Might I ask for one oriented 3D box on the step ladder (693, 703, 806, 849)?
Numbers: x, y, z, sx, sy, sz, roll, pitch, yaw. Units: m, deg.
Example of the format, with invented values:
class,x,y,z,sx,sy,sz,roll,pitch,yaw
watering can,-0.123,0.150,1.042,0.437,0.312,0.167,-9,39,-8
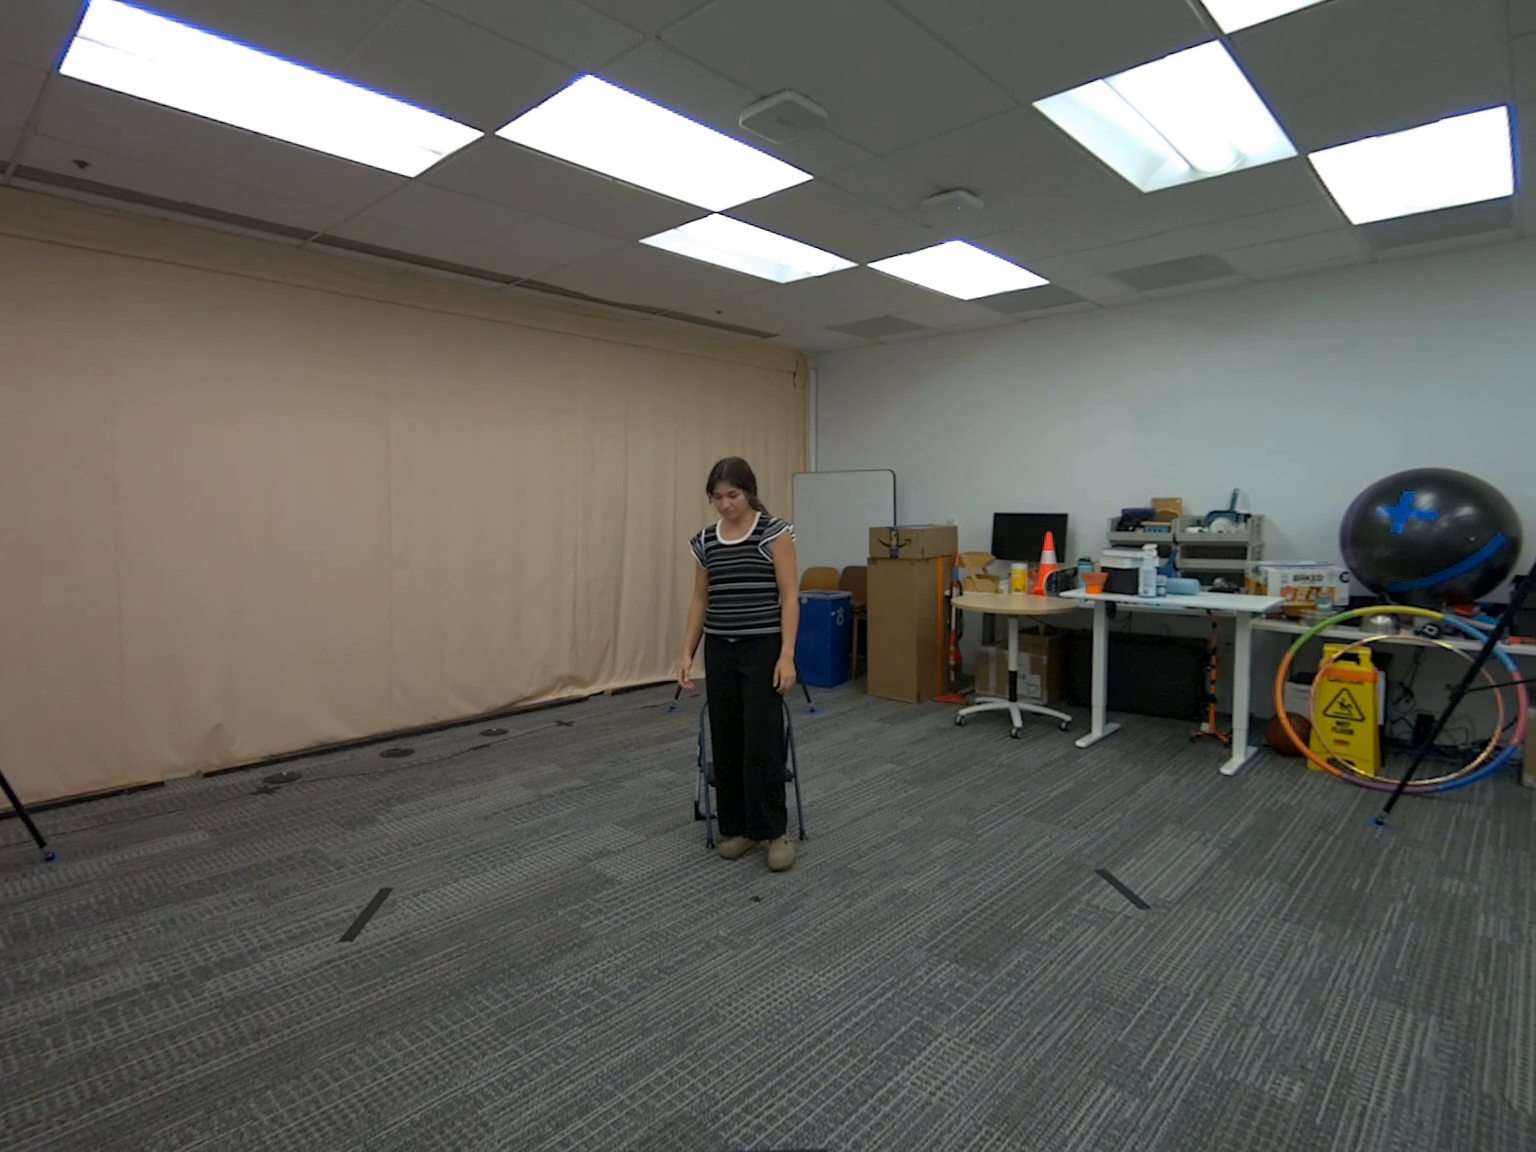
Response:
class,x,y,z,sx,sy,sz,roll,pitch,yaw
step ladder,-0.081,0.791,3.620,0.425,0.605,0.355,-1,4,-14
